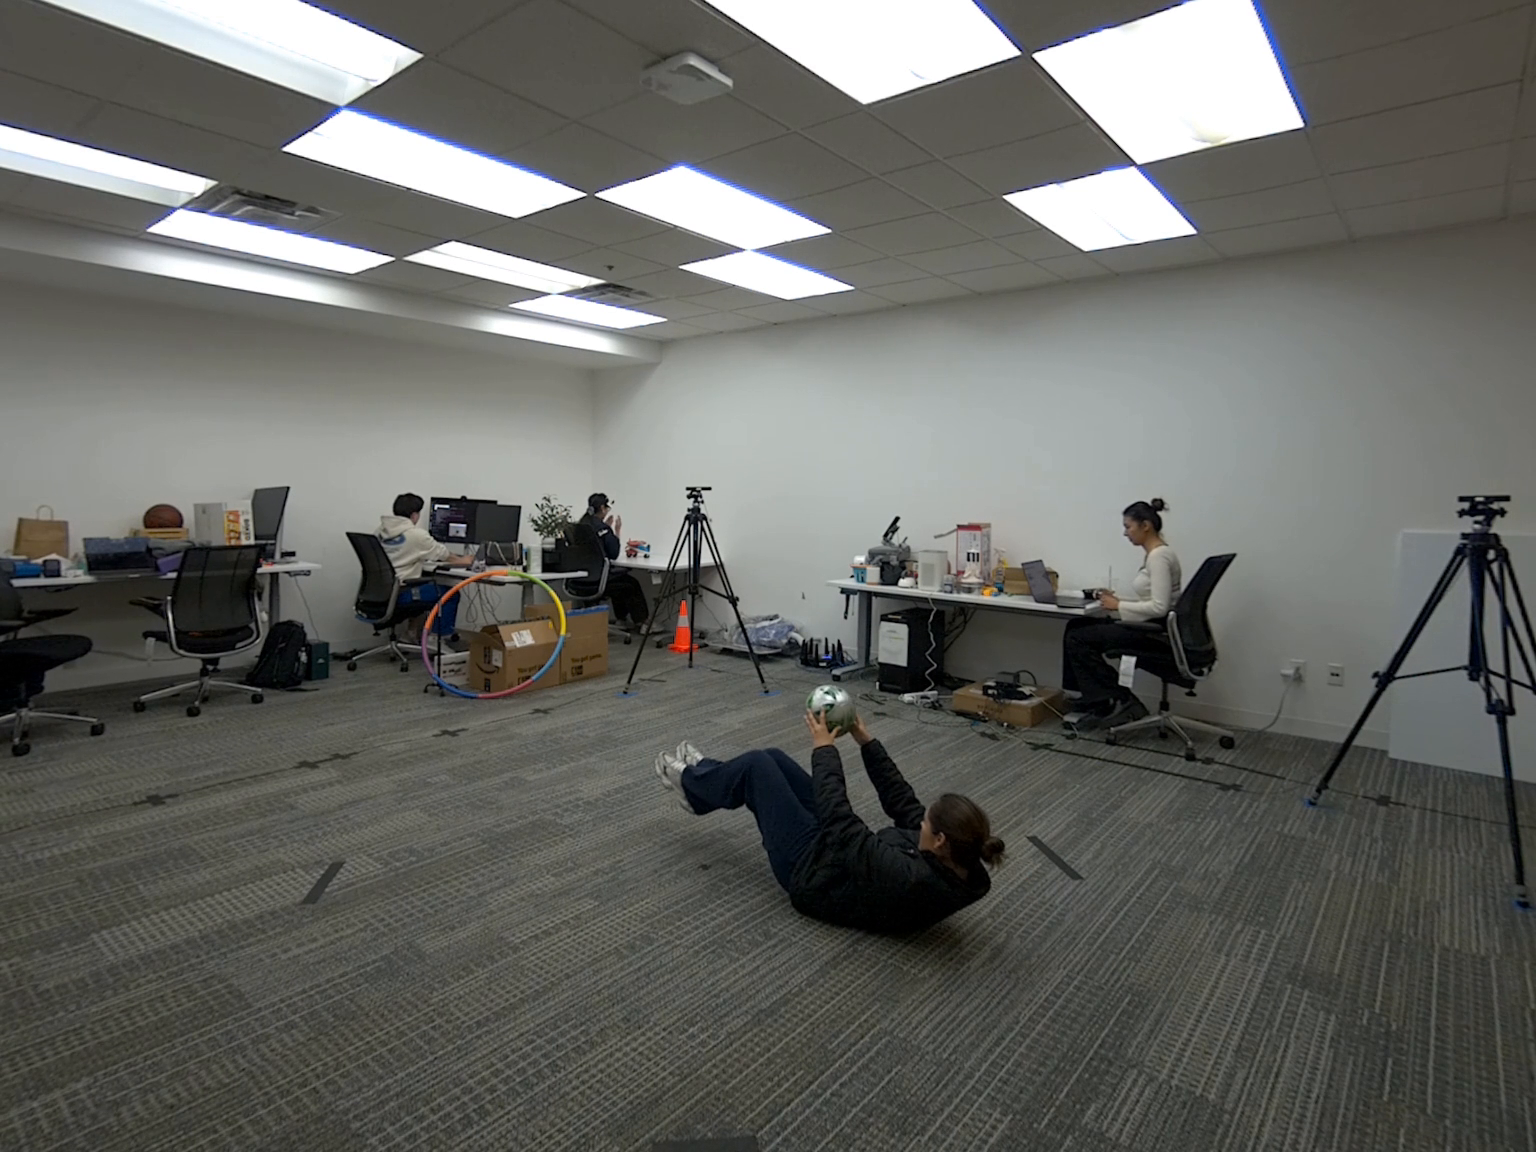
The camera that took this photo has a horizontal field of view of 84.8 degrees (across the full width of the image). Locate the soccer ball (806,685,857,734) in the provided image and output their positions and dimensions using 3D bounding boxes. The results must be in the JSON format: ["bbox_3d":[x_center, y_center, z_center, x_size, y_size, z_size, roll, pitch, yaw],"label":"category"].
[{"bbox_3d":[0.219,0.475,3.012,0.187,0.187,0.188,-3,3,-2],"label":"soccer ball"}]
